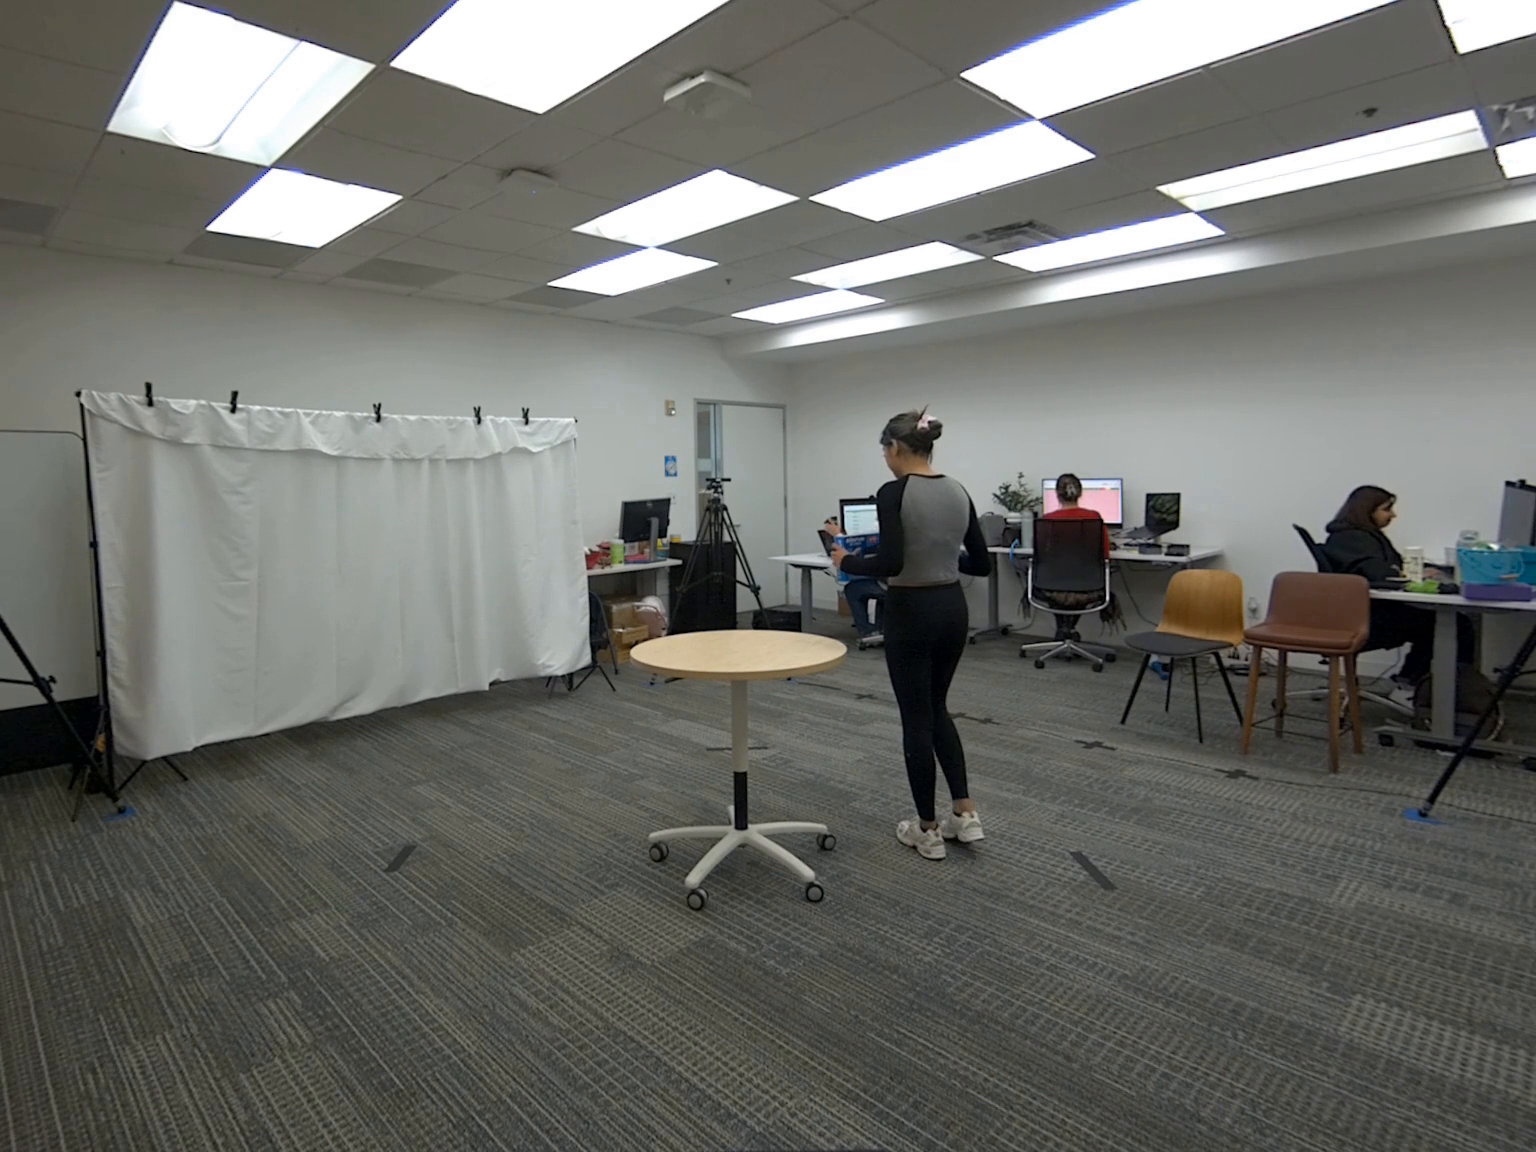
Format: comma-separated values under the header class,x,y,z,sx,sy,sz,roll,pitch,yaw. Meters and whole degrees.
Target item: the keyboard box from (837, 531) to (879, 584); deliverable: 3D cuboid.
class,x,y,z,sx,sy,sz,roll,pitch,yaw
keyboard box,0.469,-0.089,3.361,0.427,0.175,0.060,-8,4,-32
